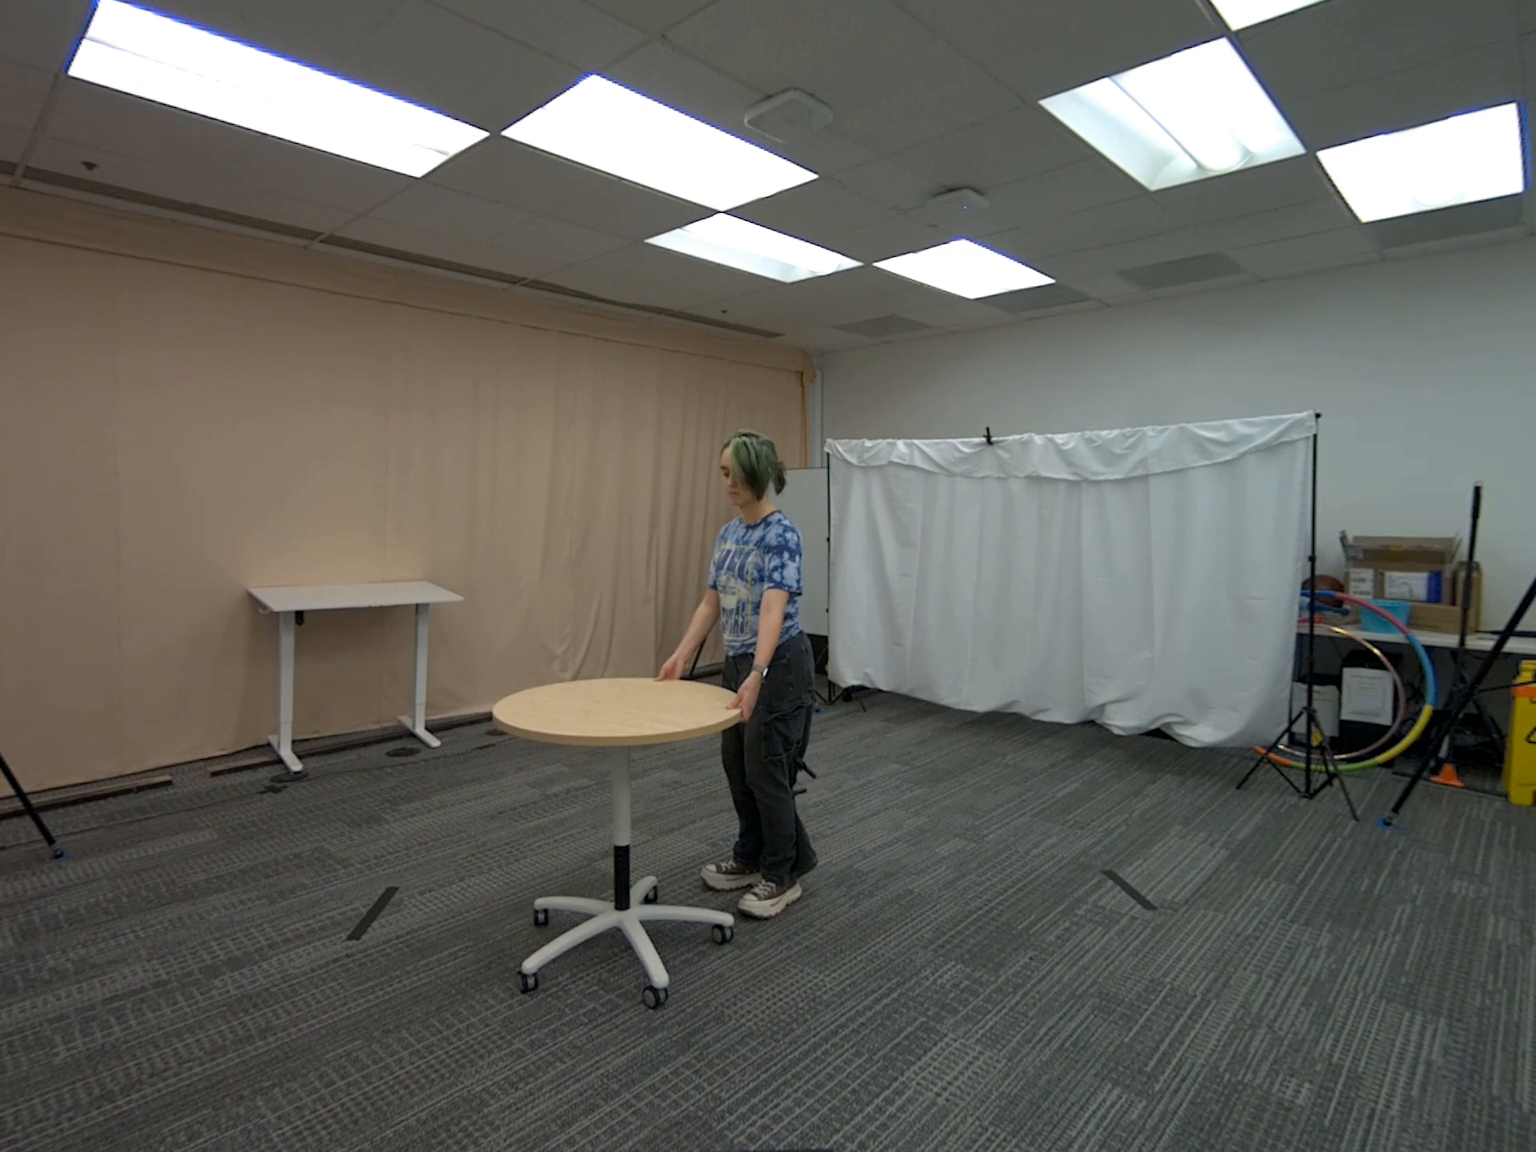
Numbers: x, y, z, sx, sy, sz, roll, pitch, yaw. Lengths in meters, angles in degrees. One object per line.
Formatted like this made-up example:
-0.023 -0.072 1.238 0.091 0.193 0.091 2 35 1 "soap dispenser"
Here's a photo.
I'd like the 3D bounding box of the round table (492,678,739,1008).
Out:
-0.455 0.788 2.619 0.763 0.792 0.767 -1 4 -2 "round table"
